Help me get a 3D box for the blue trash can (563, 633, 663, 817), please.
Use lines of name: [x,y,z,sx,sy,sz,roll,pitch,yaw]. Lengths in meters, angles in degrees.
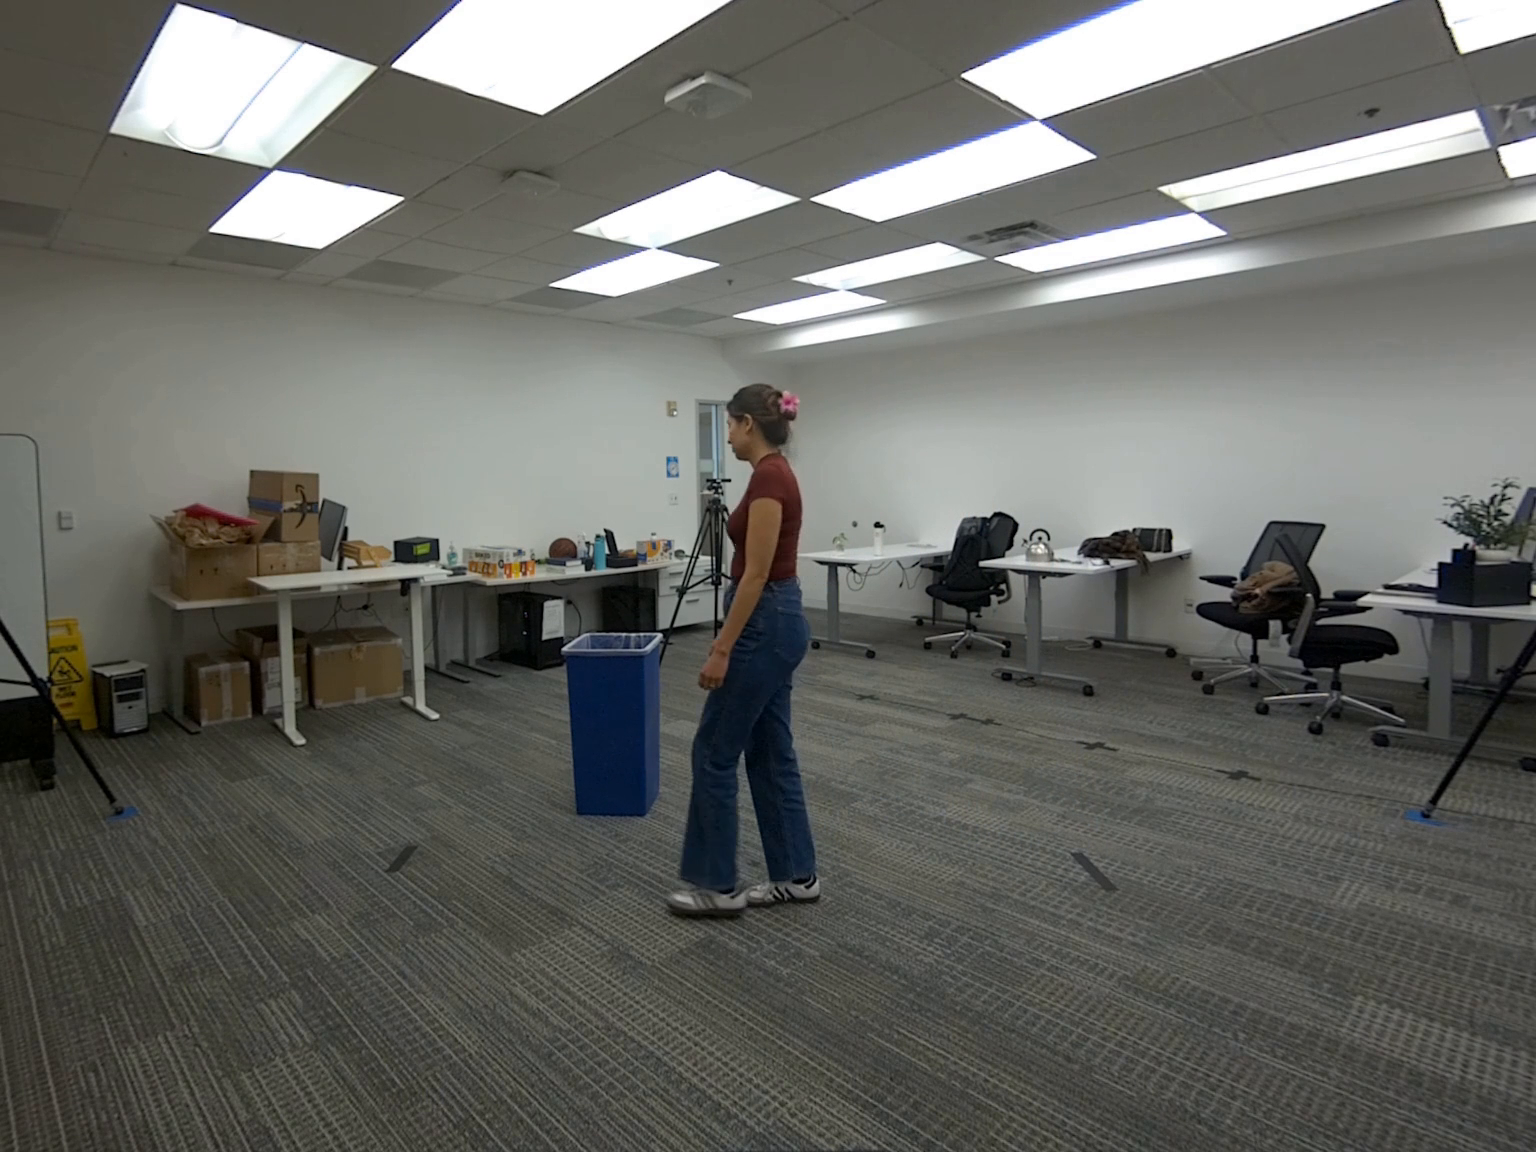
blue trash can: [-0.654,0.634,3.697,0.381,0.711,0.373,-1,4,6]
